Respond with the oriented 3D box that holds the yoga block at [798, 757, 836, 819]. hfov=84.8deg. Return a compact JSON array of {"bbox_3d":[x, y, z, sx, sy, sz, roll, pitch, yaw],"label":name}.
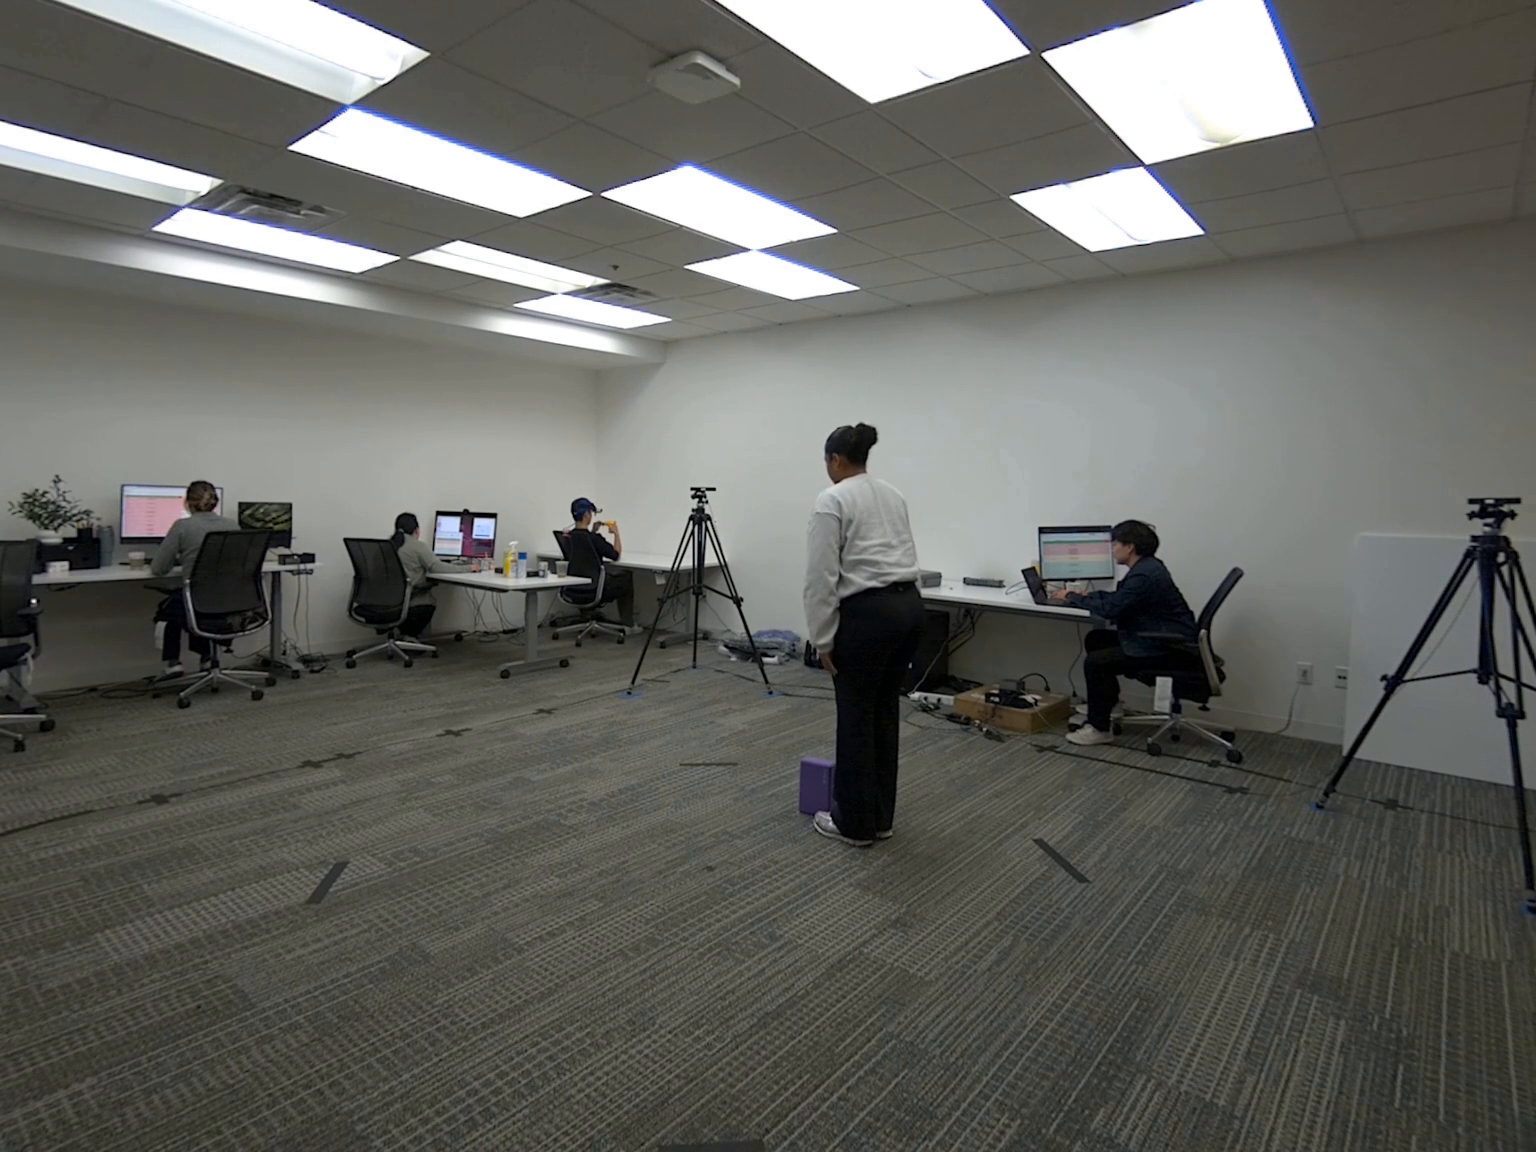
[{"bbox_3d":[0.204,0.901,3.660,0.153,0.228,0.074,3,4,29],"label":"yoga block"}]
